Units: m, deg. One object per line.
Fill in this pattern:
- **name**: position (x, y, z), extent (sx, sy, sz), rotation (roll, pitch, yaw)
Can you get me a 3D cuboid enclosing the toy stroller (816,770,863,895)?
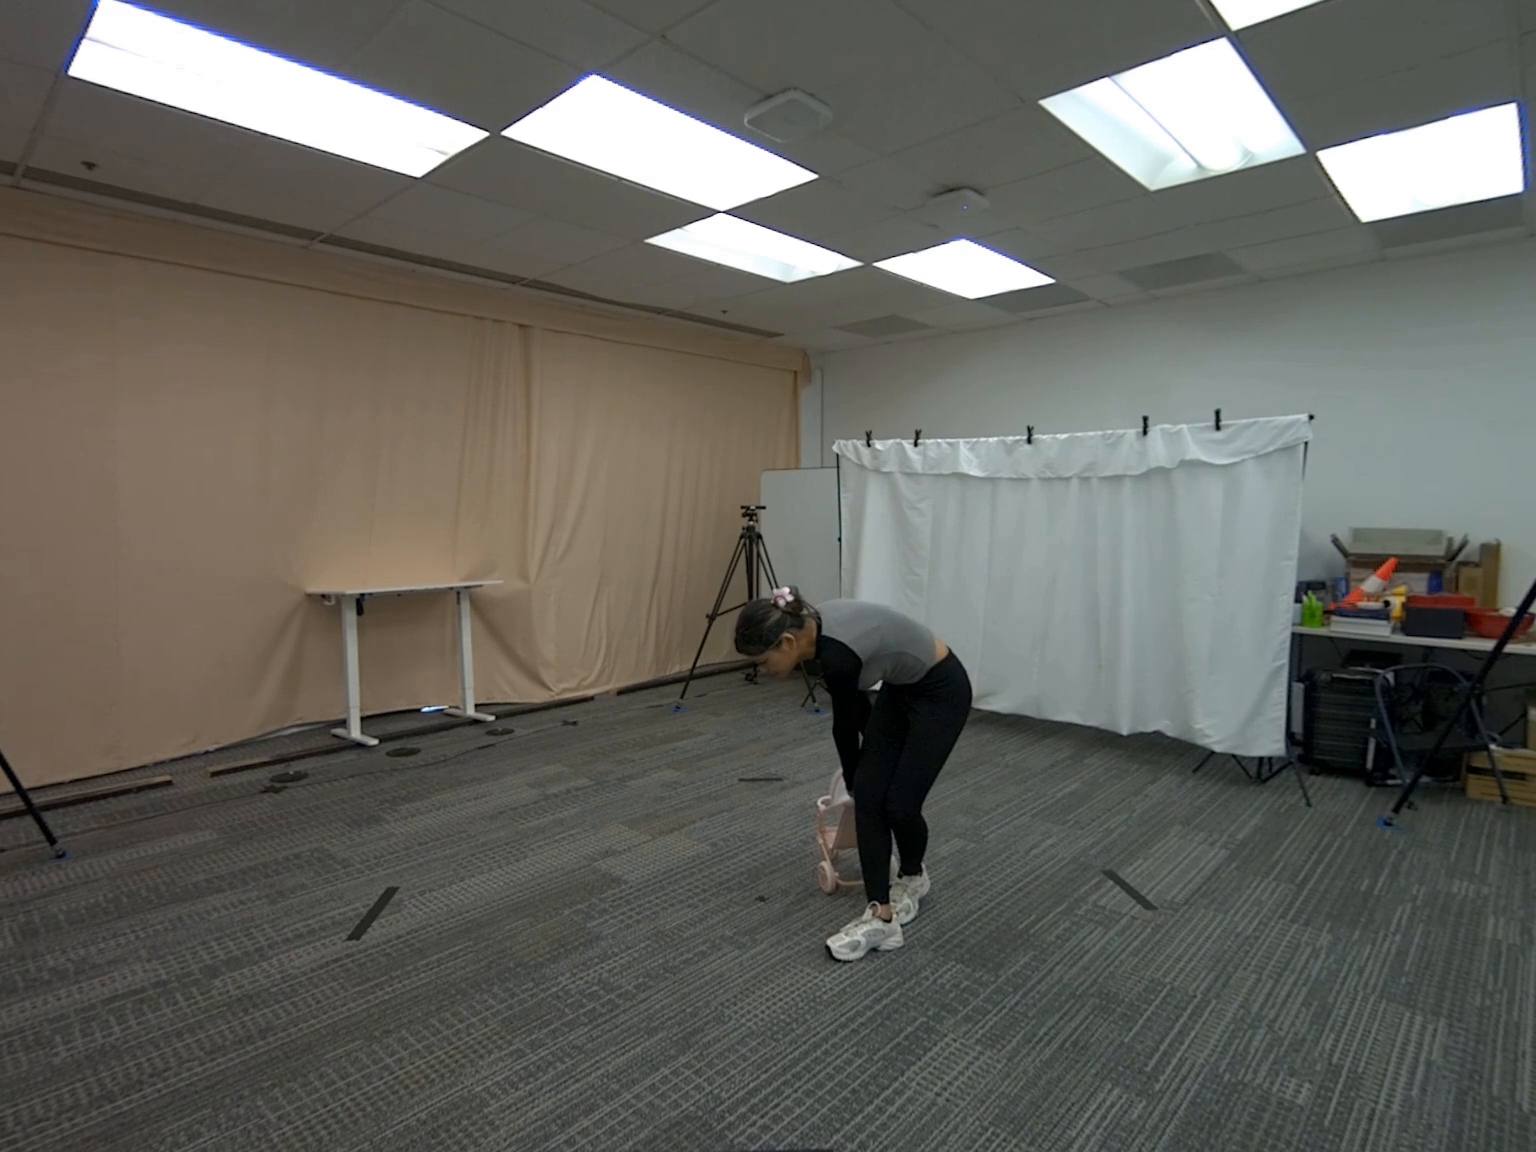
- **toy stroller**: position (0.319, 0.904, 3.103), extent (0.278, 0.529, 0.349), rotation (0, 22, -12)
